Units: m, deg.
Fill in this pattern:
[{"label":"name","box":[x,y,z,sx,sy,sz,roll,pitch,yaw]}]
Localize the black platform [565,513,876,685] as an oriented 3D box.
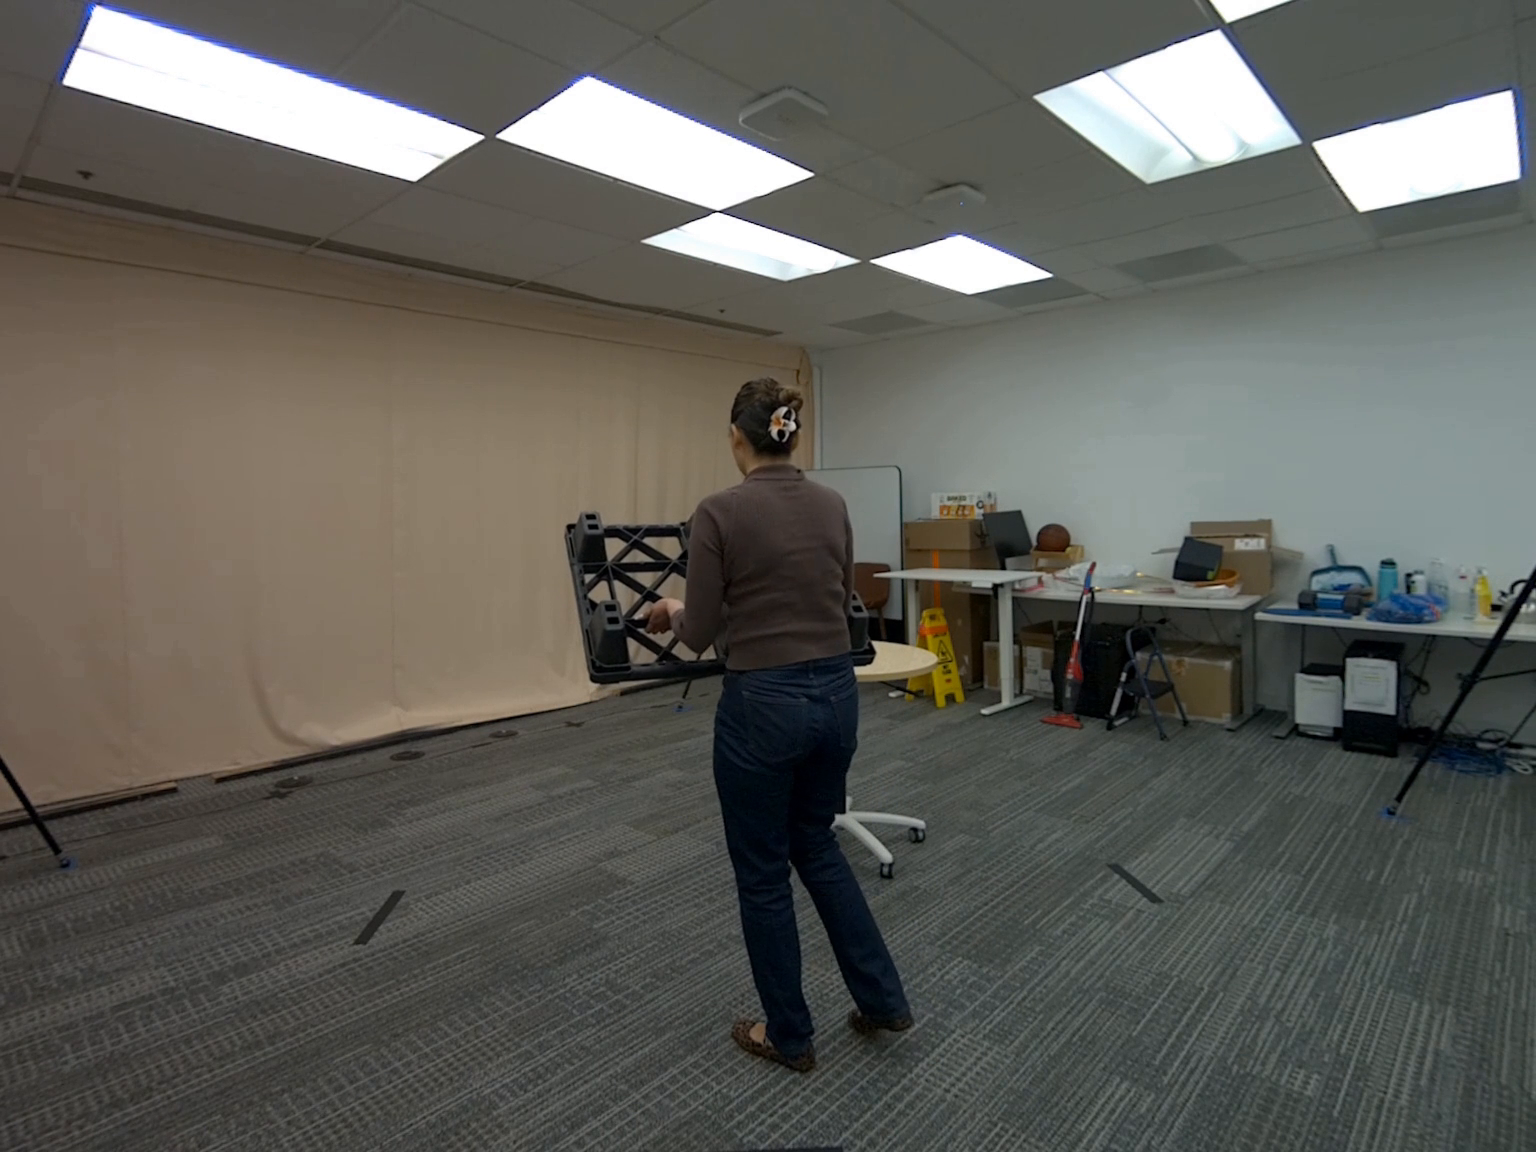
[{"label":"black platform","box":[-0.145,0.017,2.402,0.791,0.142,0.623,-3,42,-18]}]
